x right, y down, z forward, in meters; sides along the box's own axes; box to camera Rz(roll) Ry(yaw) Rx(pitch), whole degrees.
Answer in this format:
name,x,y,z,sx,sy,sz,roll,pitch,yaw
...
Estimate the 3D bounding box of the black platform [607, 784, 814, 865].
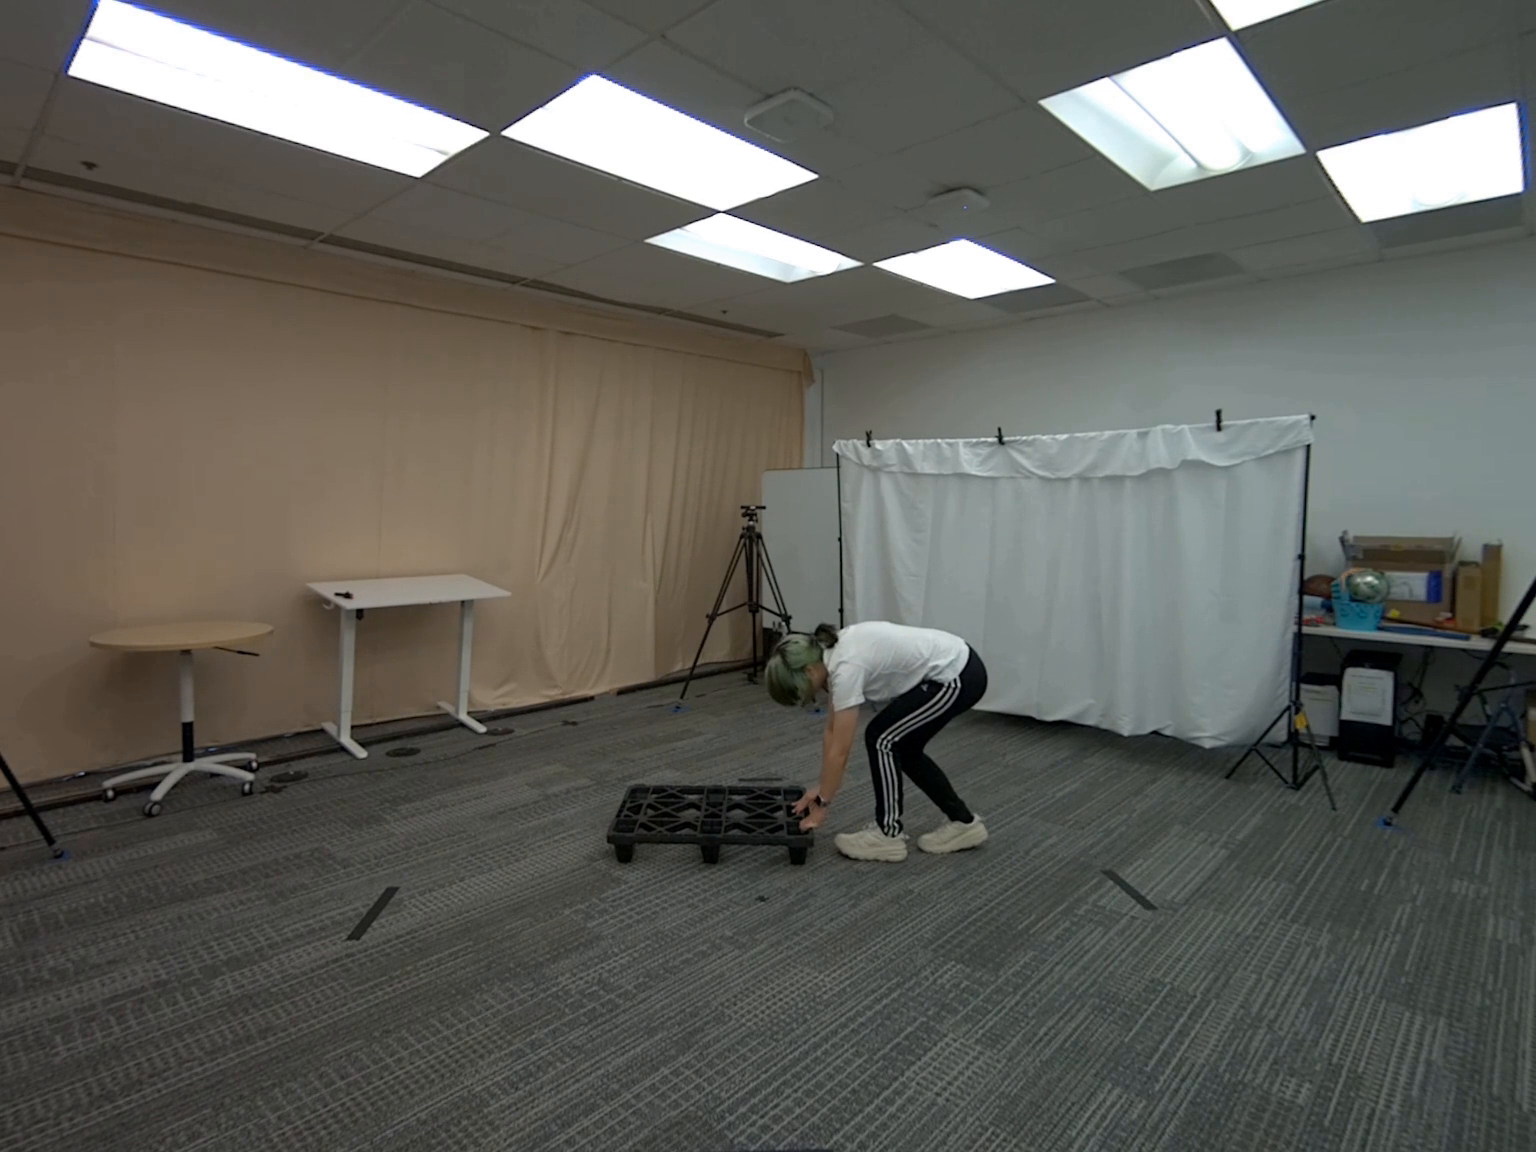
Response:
name,x,y,z,sx,sy,sz,roll,pitch,yaw
black platform,-0.229,1.034,3.509,0.808,0.143,0.605,0,4,2
